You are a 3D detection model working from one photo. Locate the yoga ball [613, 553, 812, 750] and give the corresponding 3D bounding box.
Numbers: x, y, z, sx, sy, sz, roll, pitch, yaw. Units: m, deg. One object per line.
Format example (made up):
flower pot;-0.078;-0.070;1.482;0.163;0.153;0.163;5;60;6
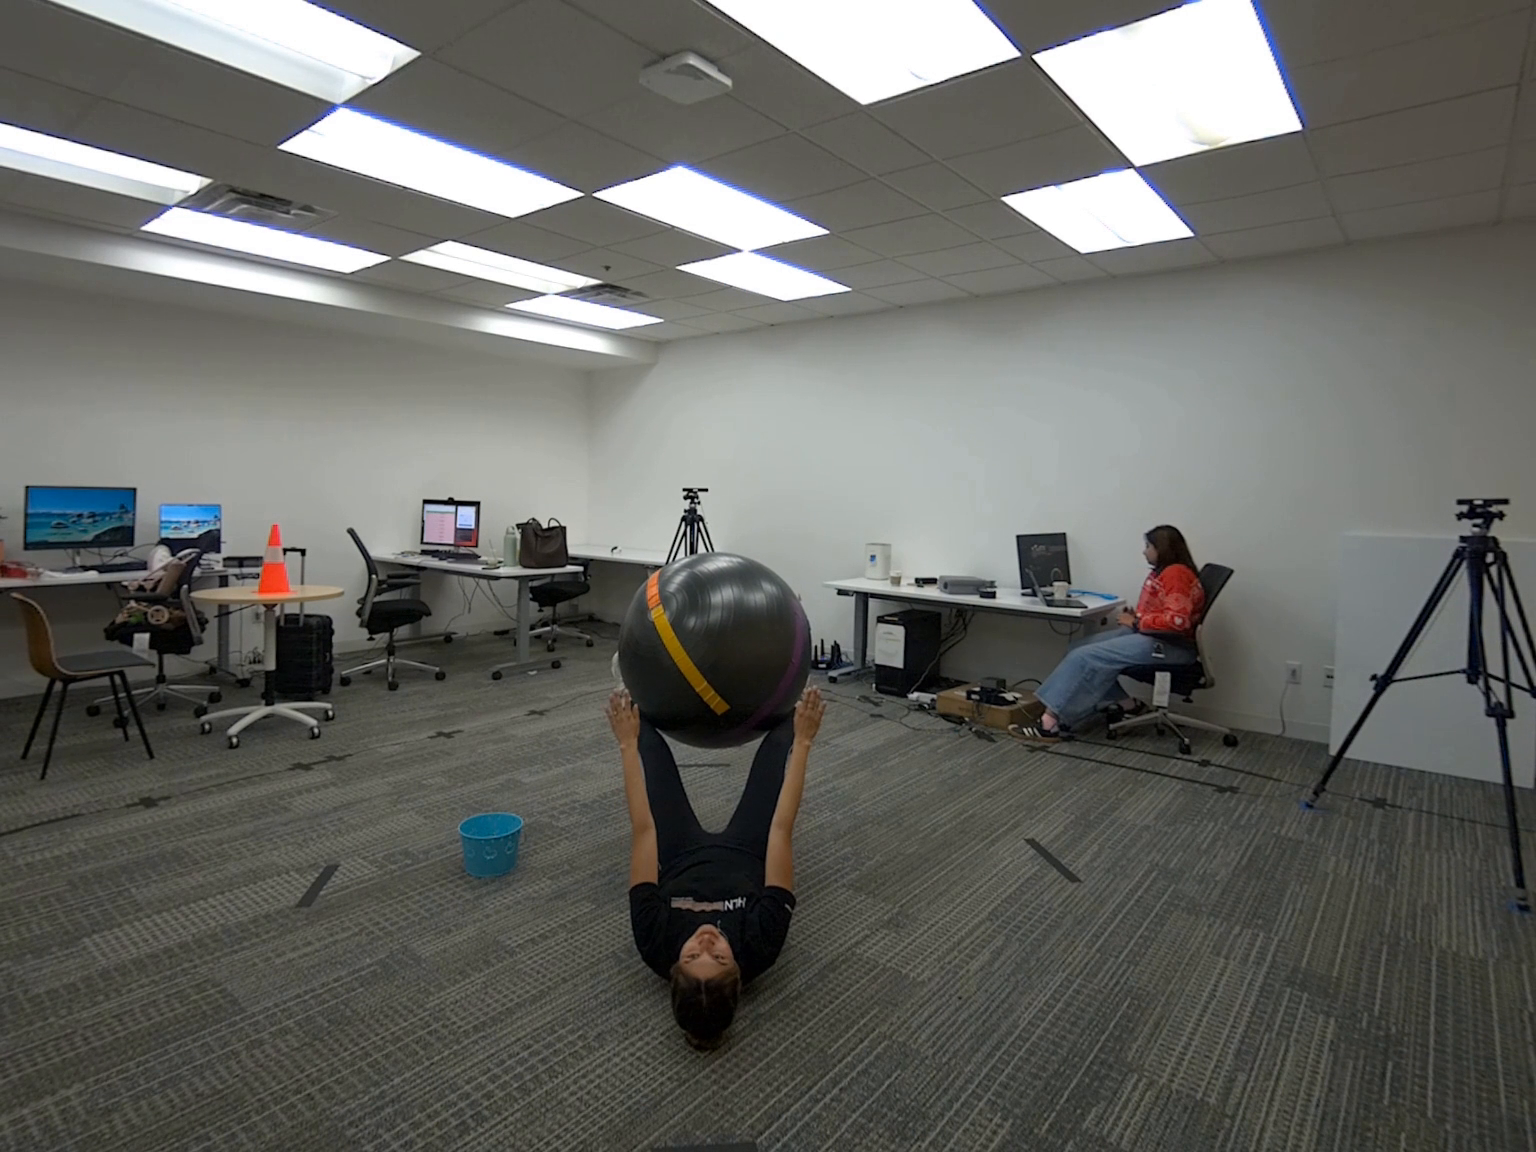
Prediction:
yoga ball;-0.210;0.286;3.315;0.757;0.756;0.762;1;4;-2
